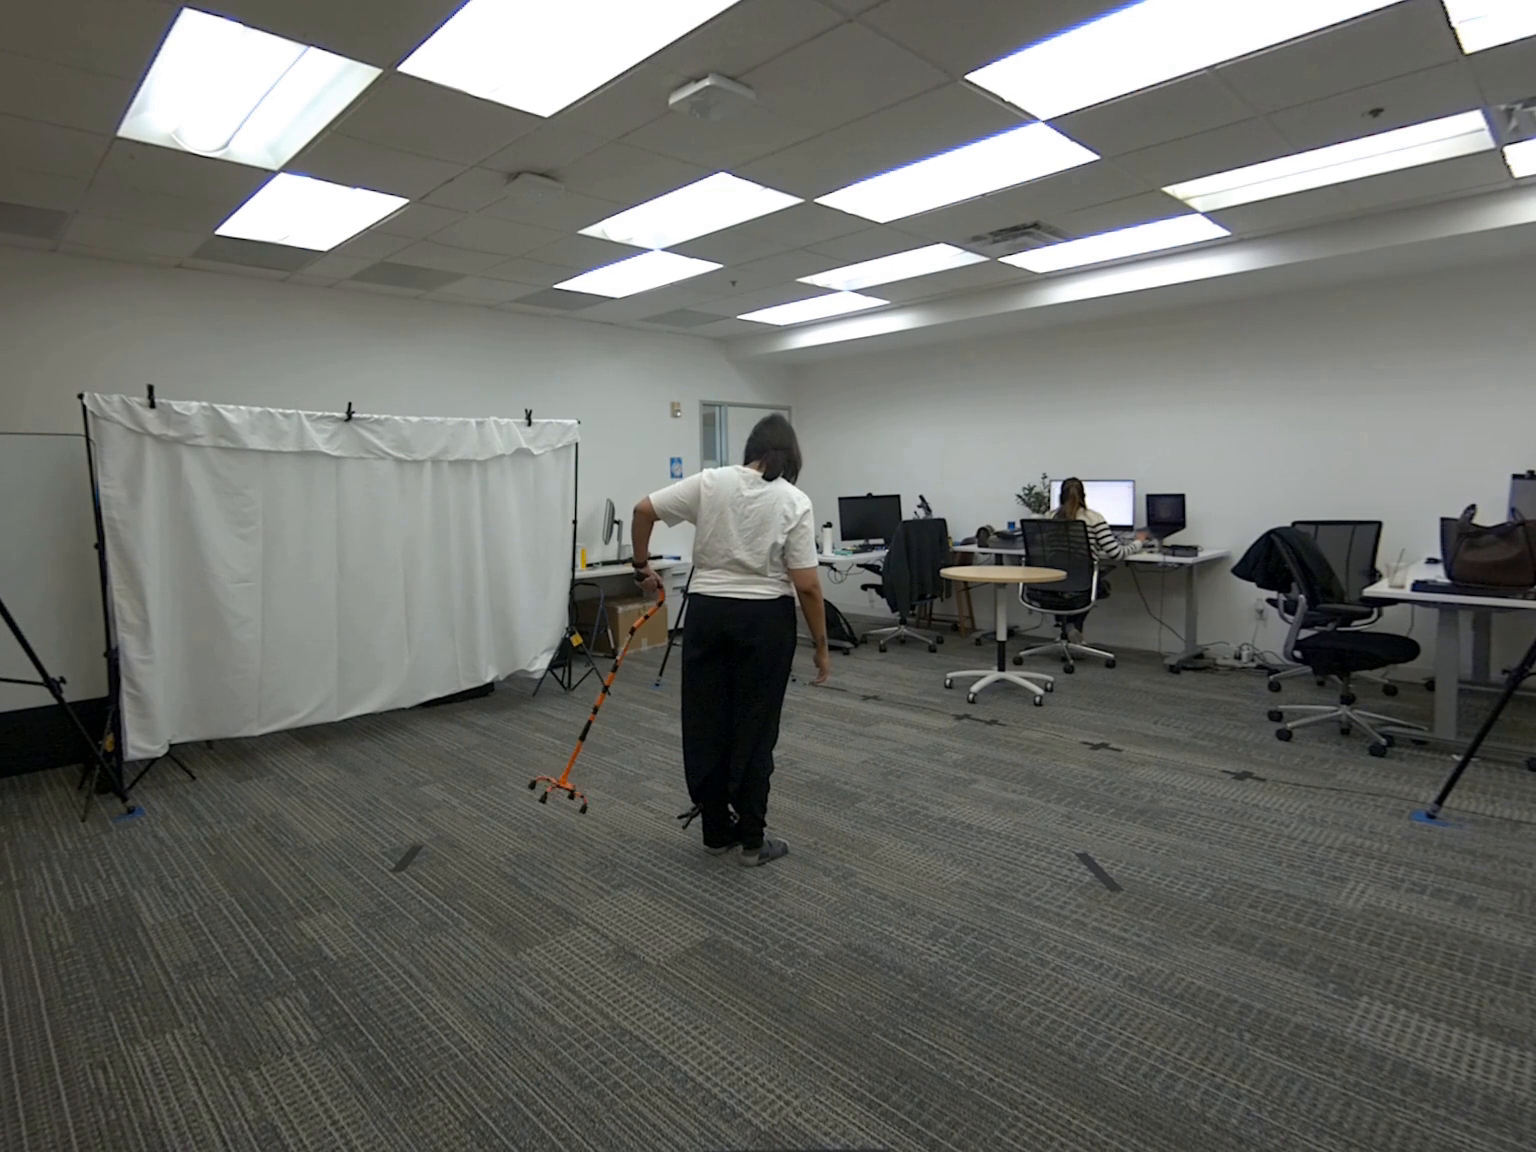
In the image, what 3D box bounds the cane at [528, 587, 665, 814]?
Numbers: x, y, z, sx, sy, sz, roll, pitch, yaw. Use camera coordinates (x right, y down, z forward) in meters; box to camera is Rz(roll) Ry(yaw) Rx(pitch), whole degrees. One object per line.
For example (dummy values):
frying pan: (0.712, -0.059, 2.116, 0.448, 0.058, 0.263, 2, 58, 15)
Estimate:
cane: (-0.608, 0.428, 3.247, 0.199, 0.909, 0.157, 24, -3, -35)
